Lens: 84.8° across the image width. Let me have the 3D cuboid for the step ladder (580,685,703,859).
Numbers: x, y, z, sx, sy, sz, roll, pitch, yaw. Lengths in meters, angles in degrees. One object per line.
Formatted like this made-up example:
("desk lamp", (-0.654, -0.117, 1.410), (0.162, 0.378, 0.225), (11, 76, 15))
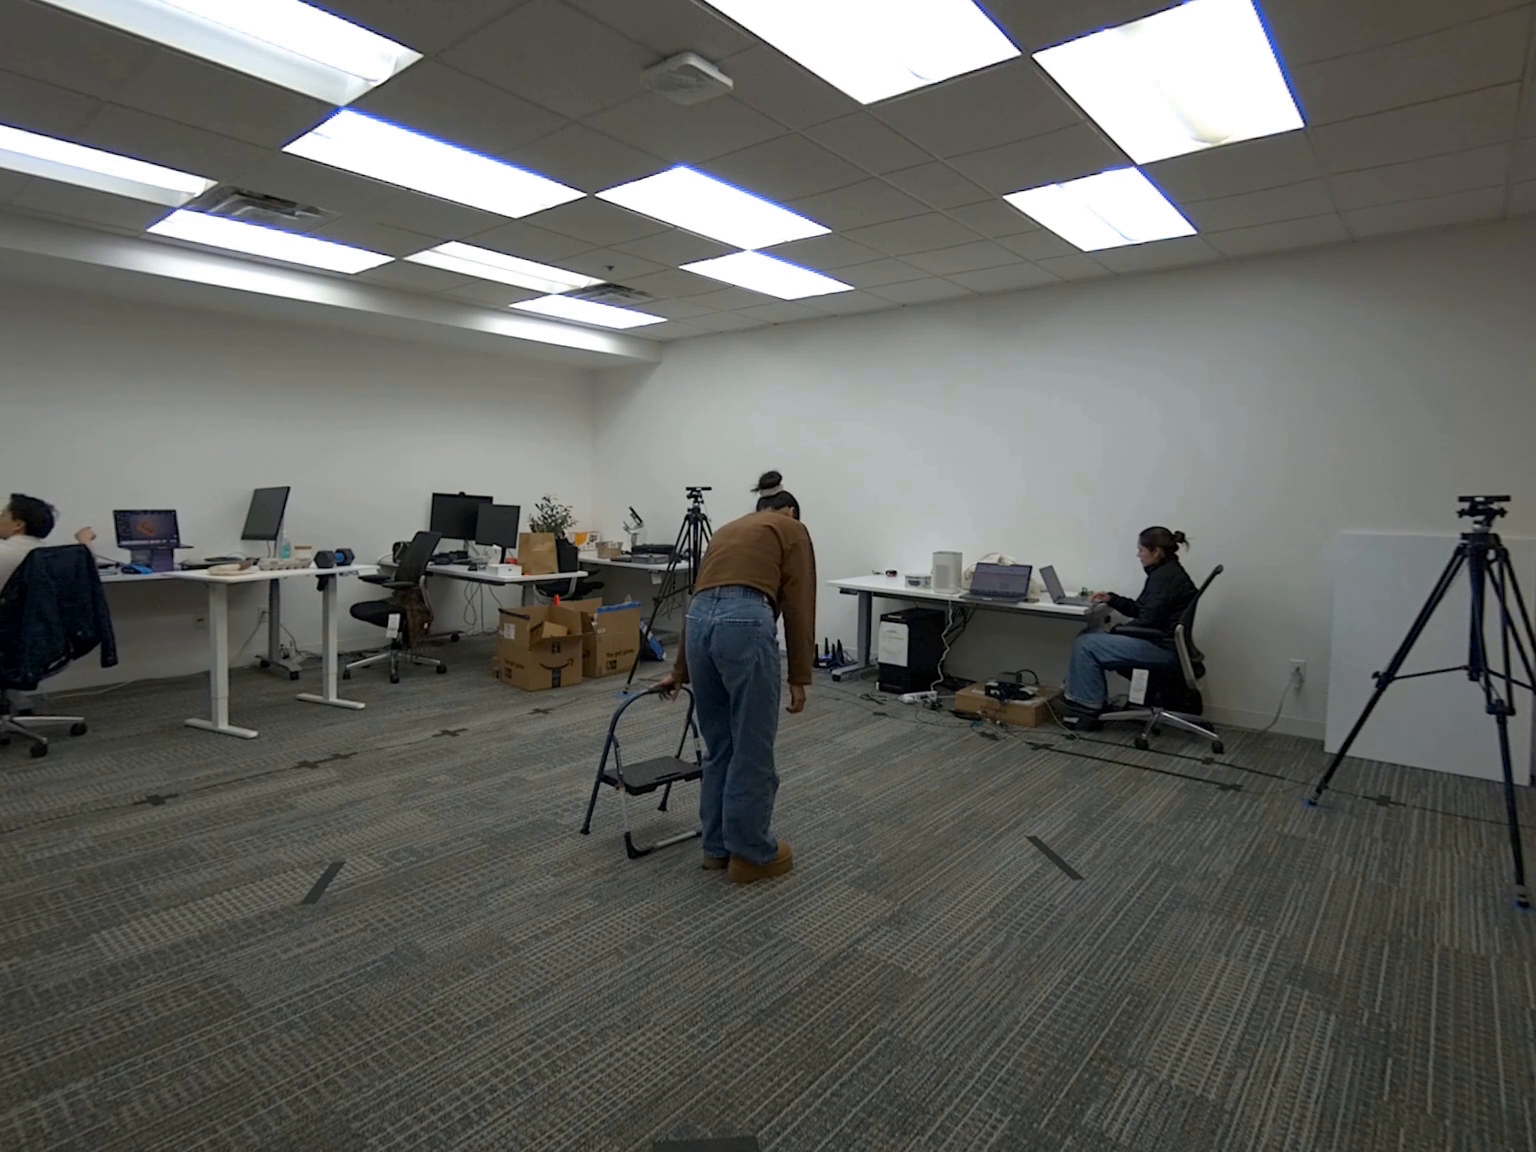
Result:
("step ladder", (-0.494, 0.727, 3.413), (0.417, 0.604, 0.361), (-3, 6, -44))
